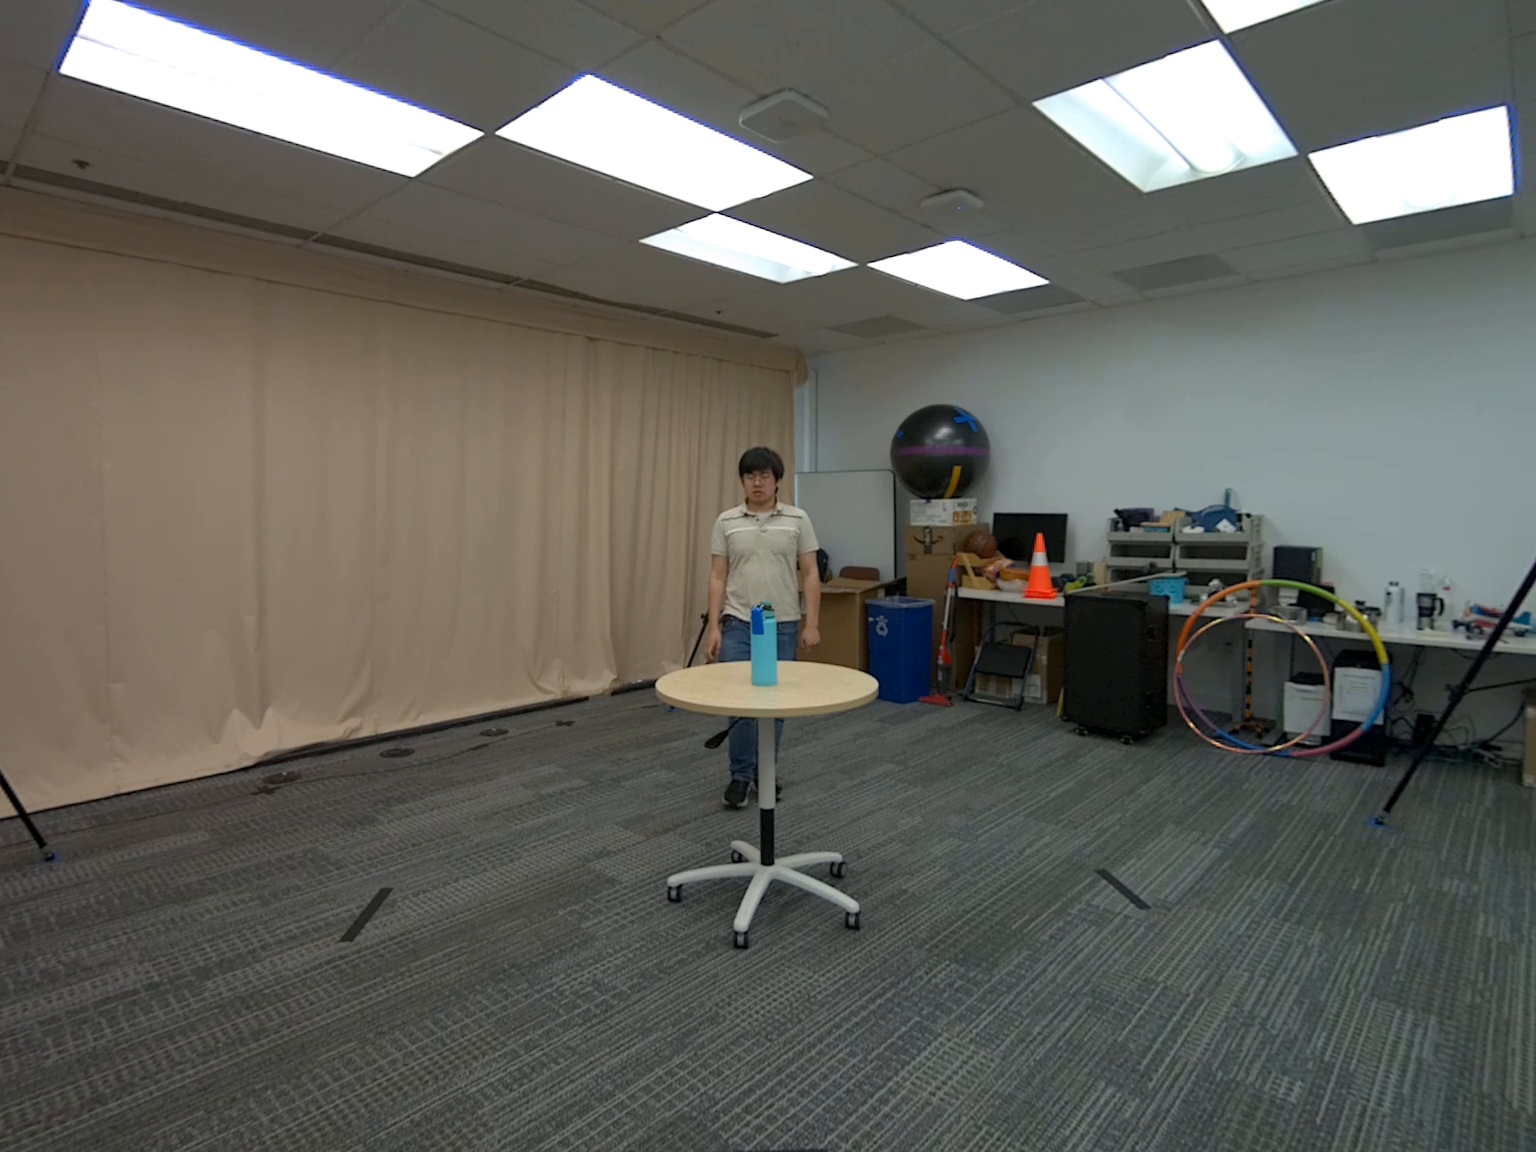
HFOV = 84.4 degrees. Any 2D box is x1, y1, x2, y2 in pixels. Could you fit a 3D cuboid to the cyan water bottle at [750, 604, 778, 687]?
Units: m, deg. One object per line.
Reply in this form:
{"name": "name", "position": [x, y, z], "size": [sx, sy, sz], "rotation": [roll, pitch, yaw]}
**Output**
{"name": "cyan water bottle", "position": [-0.014, 0.228, 2.884], "size": [0.092, 0.283, 0.092], "rotation": [-2, 2, -2]}
